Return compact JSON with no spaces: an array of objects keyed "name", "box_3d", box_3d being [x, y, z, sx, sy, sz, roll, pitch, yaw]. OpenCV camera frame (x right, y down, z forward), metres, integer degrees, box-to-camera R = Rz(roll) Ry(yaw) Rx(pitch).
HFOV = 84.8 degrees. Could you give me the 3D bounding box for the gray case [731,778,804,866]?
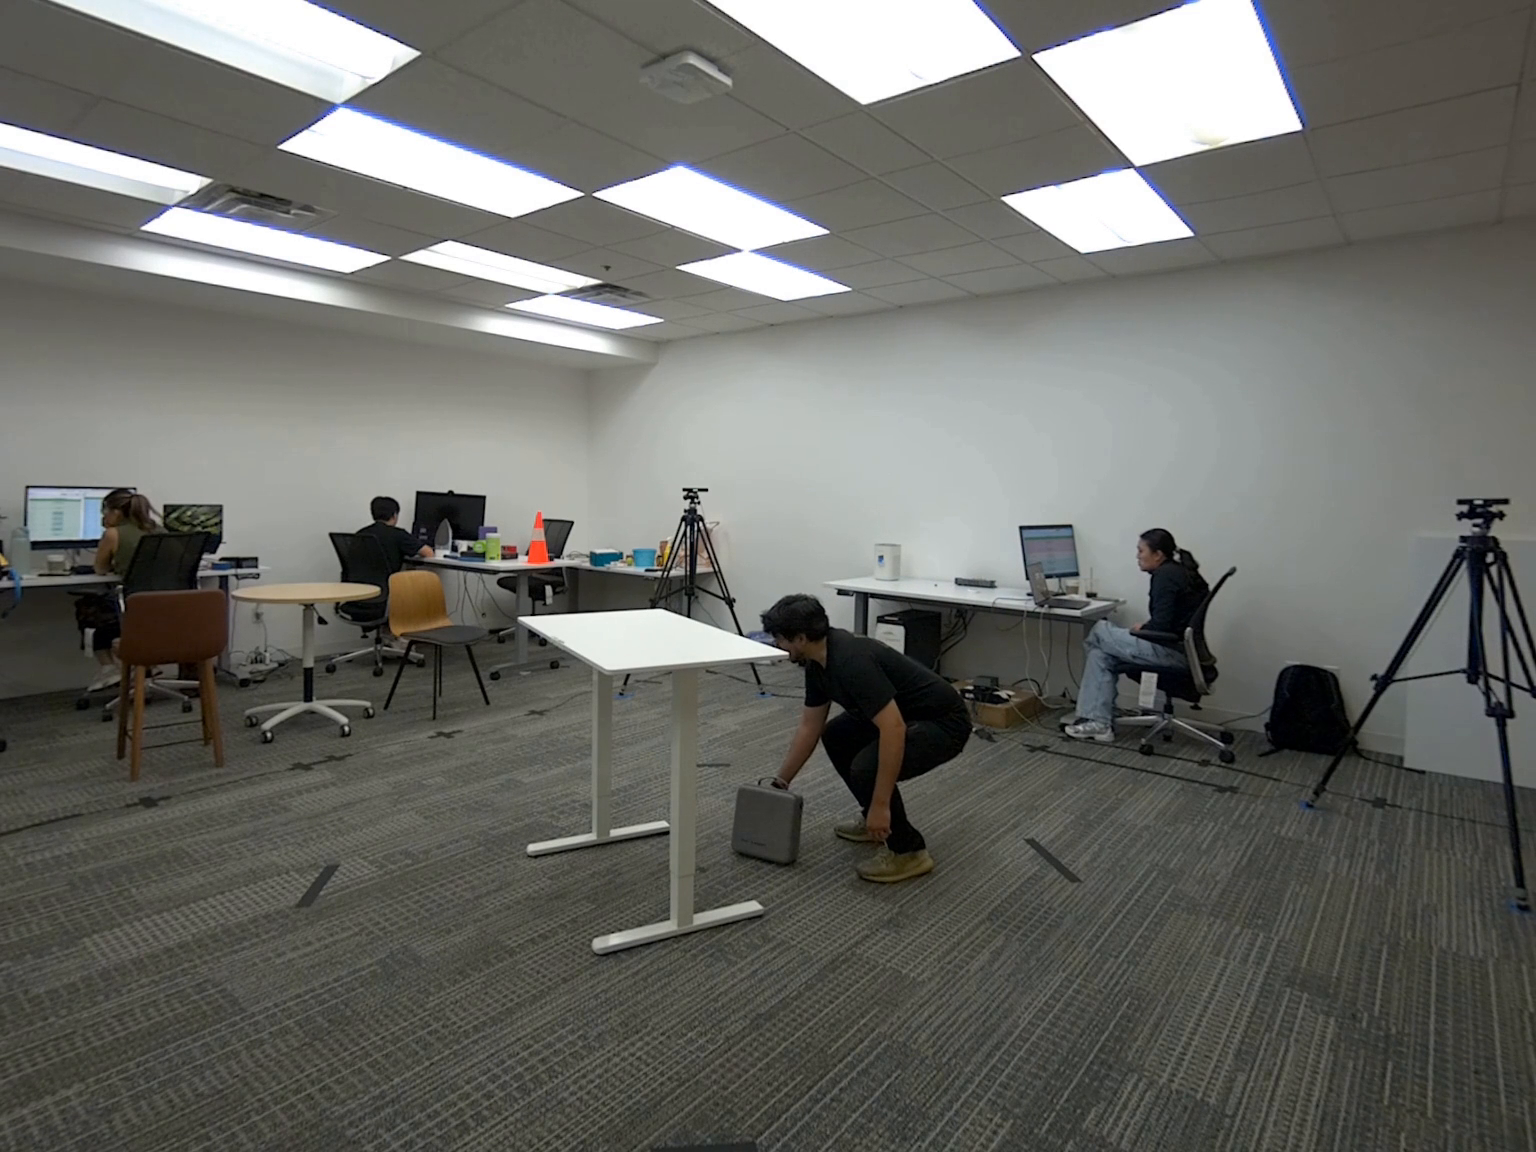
[{"name":"gray case","box_3d":[-0.012,0.932,3.242,0.264,0.262,0.101,4,-7,29]}]
